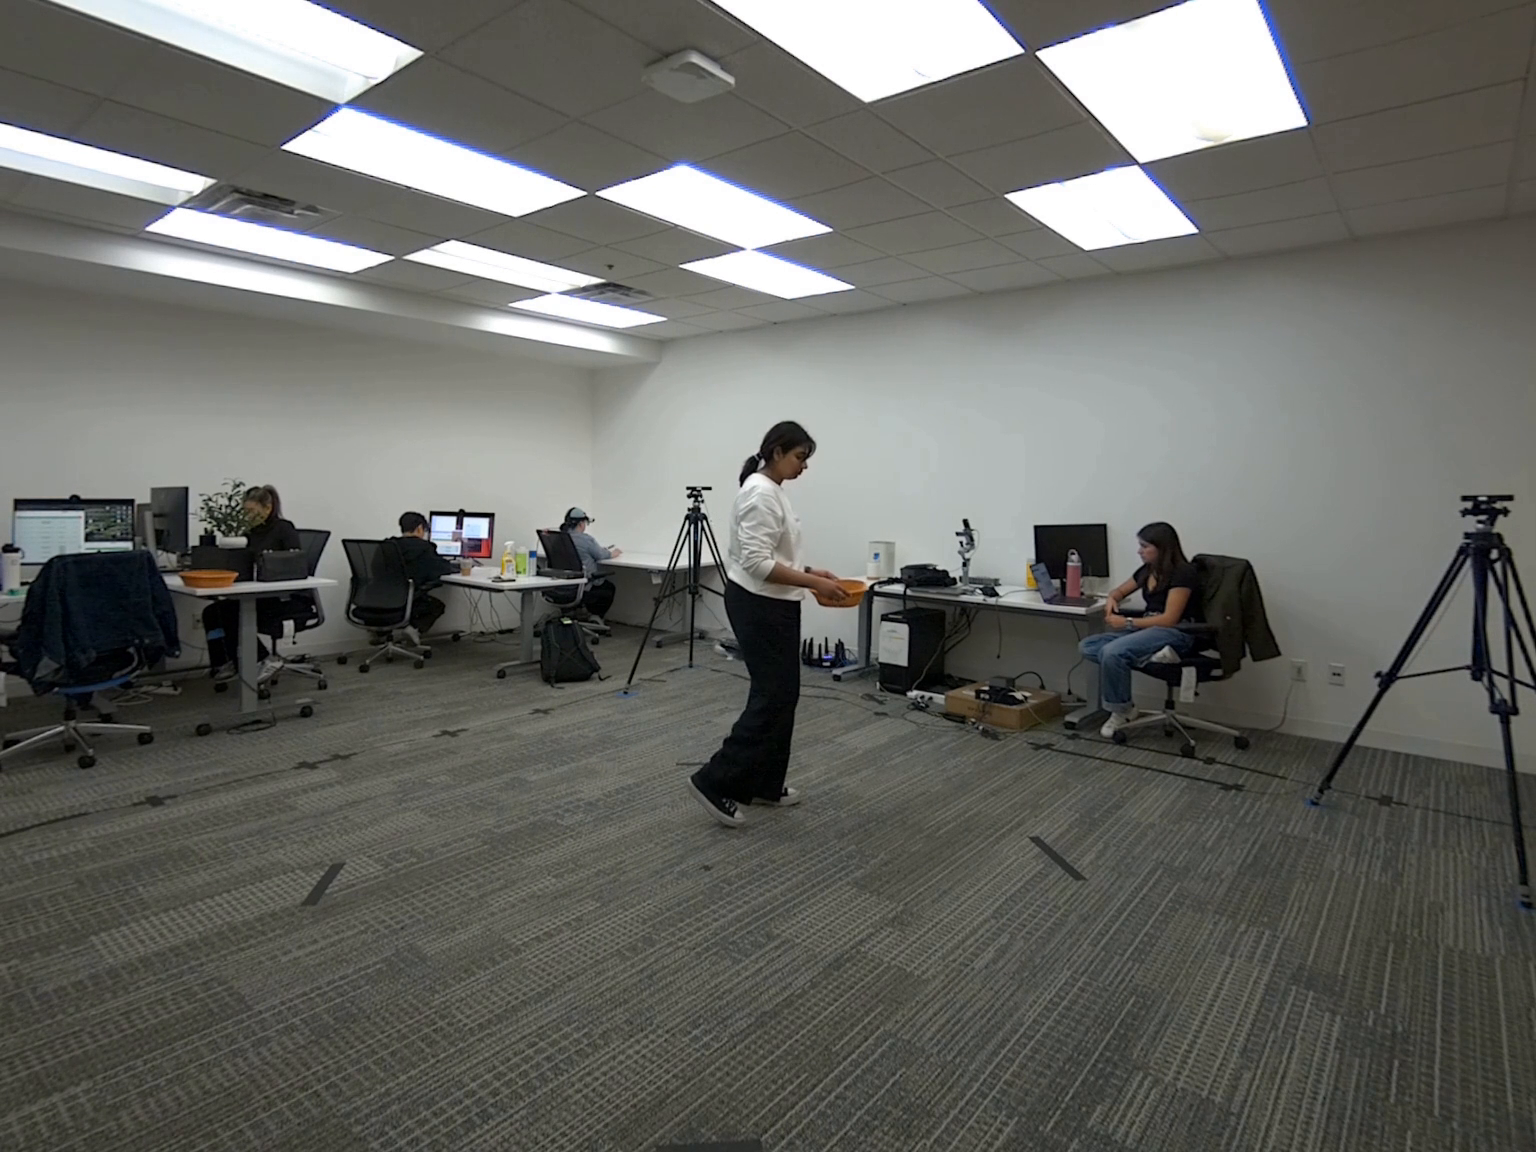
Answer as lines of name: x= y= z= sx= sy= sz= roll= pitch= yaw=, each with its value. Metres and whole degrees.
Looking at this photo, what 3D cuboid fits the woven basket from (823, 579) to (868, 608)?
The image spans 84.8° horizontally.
woven basket: x=0.301 y=0.086 z=3.684 sx=0.255 sy=0.073 sz=0.349 roll=-1 pitch=8 yaw=9
